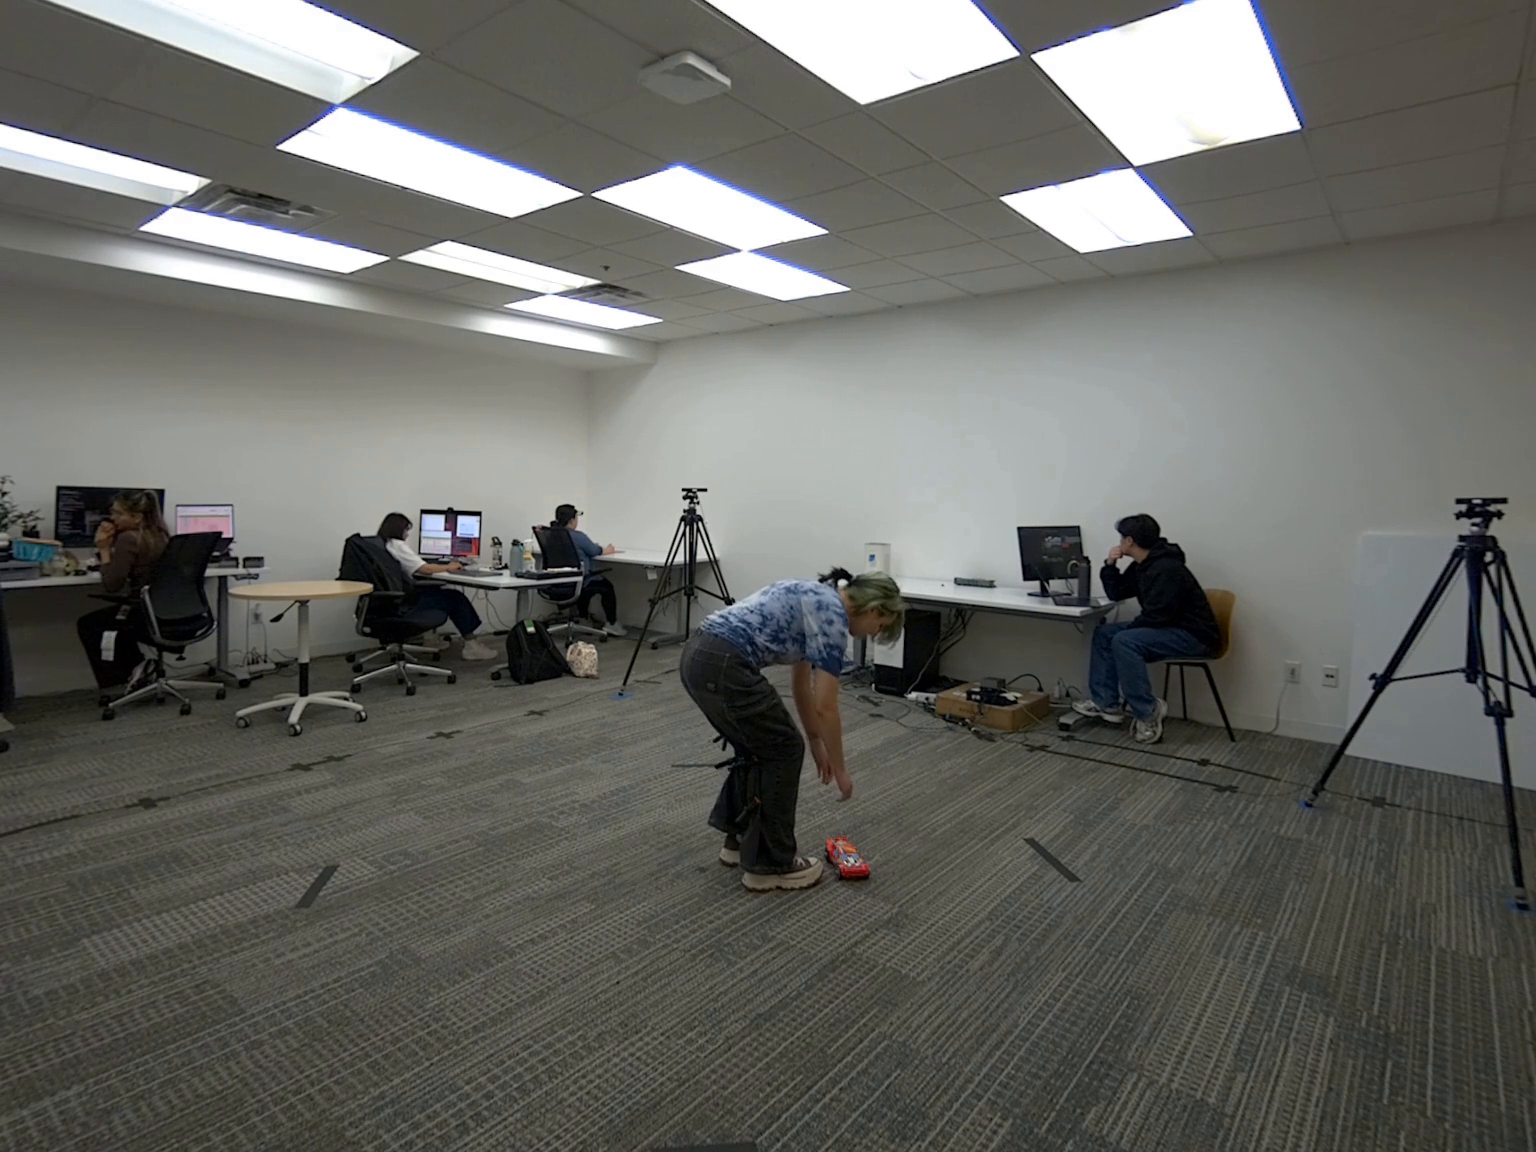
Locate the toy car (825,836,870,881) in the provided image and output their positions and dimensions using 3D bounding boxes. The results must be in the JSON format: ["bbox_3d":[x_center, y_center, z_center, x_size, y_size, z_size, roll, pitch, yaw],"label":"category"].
[{"bbox_3d":[0.279,1.048,3.154,0.129,0.082,0.261,0,17,-10],"label":"toy car"}]
